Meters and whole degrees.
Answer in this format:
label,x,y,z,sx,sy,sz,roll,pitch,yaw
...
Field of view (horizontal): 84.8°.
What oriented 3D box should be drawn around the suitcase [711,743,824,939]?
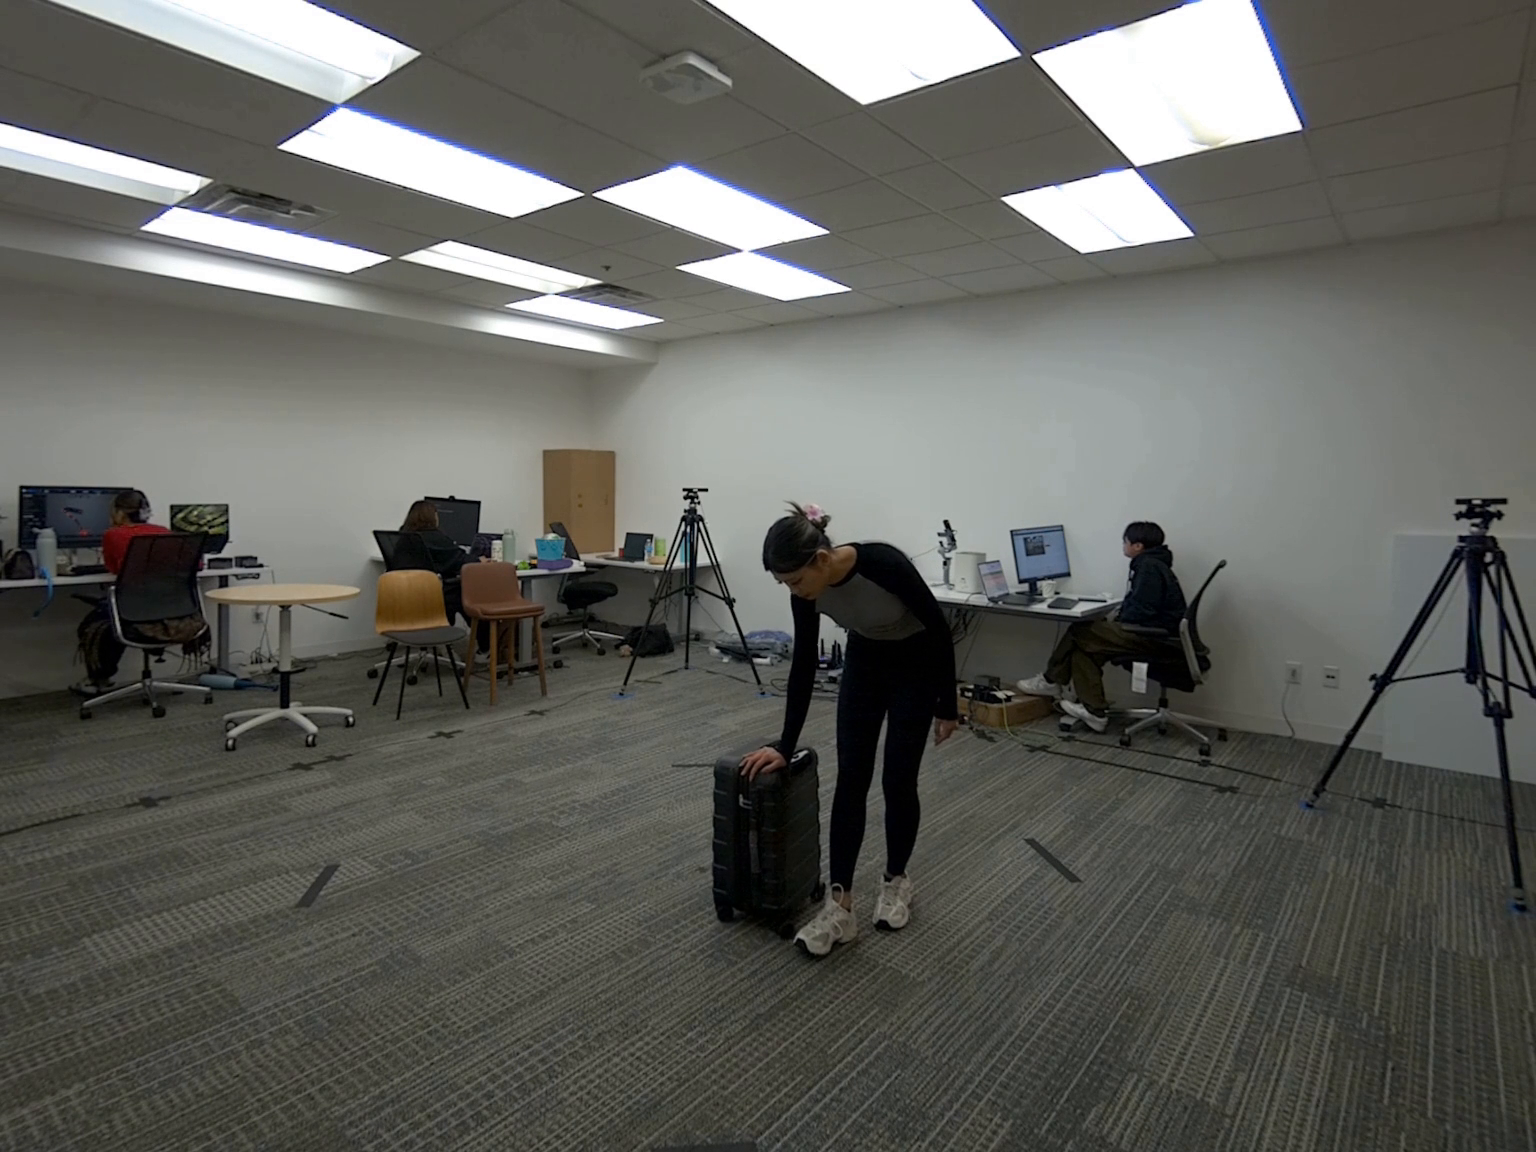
label,x,y,z,sx,sy,sz,roll,pitch,yaw
suitcase,-0.007,0.826,2.809,0.255,0.547,0.366,1,4,29
